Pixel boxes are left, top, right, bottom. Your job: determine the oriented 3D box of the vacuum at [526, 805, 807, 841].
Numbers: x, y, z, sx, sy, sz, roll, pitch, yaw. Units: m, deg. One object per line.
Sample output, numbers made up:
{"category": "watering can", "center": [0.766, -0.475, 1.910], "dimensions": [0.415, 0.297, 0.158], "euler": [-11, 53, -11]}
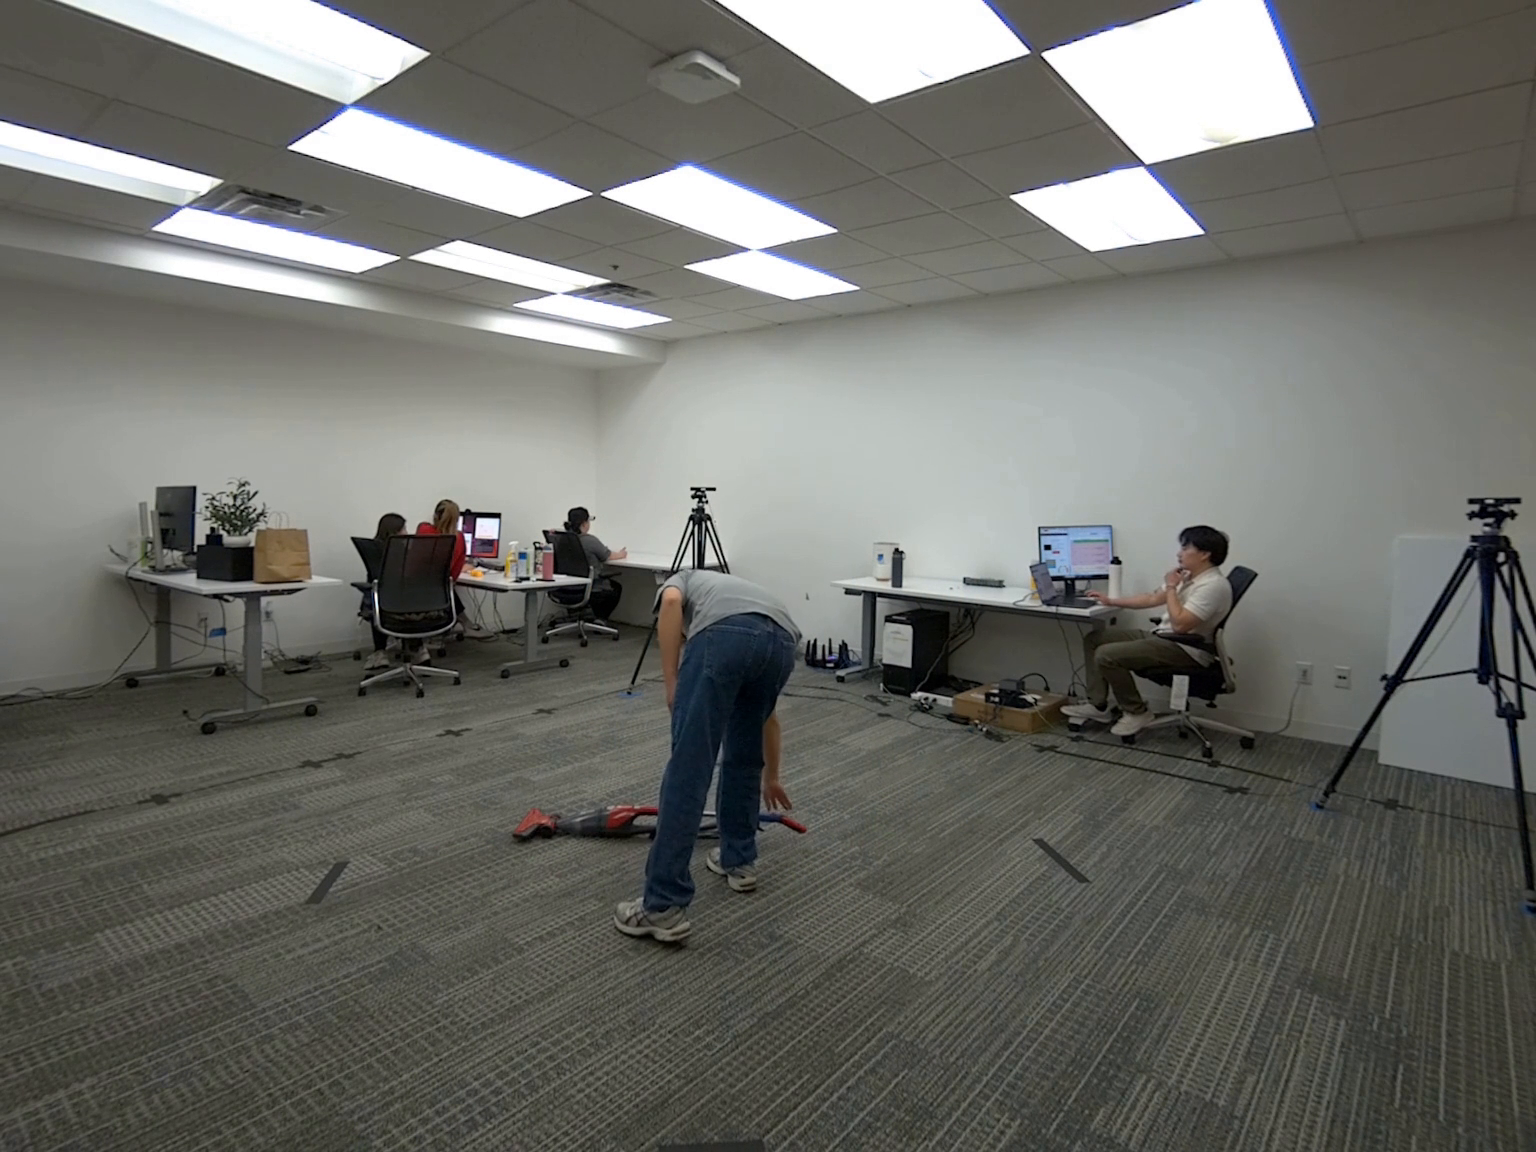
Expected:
{"category": "vacuum", "center": [-0.381, 0.970, 3.356], "dimensions": [1.055, 0.145, 0.250], "euler": [-1, -3, 5]}
